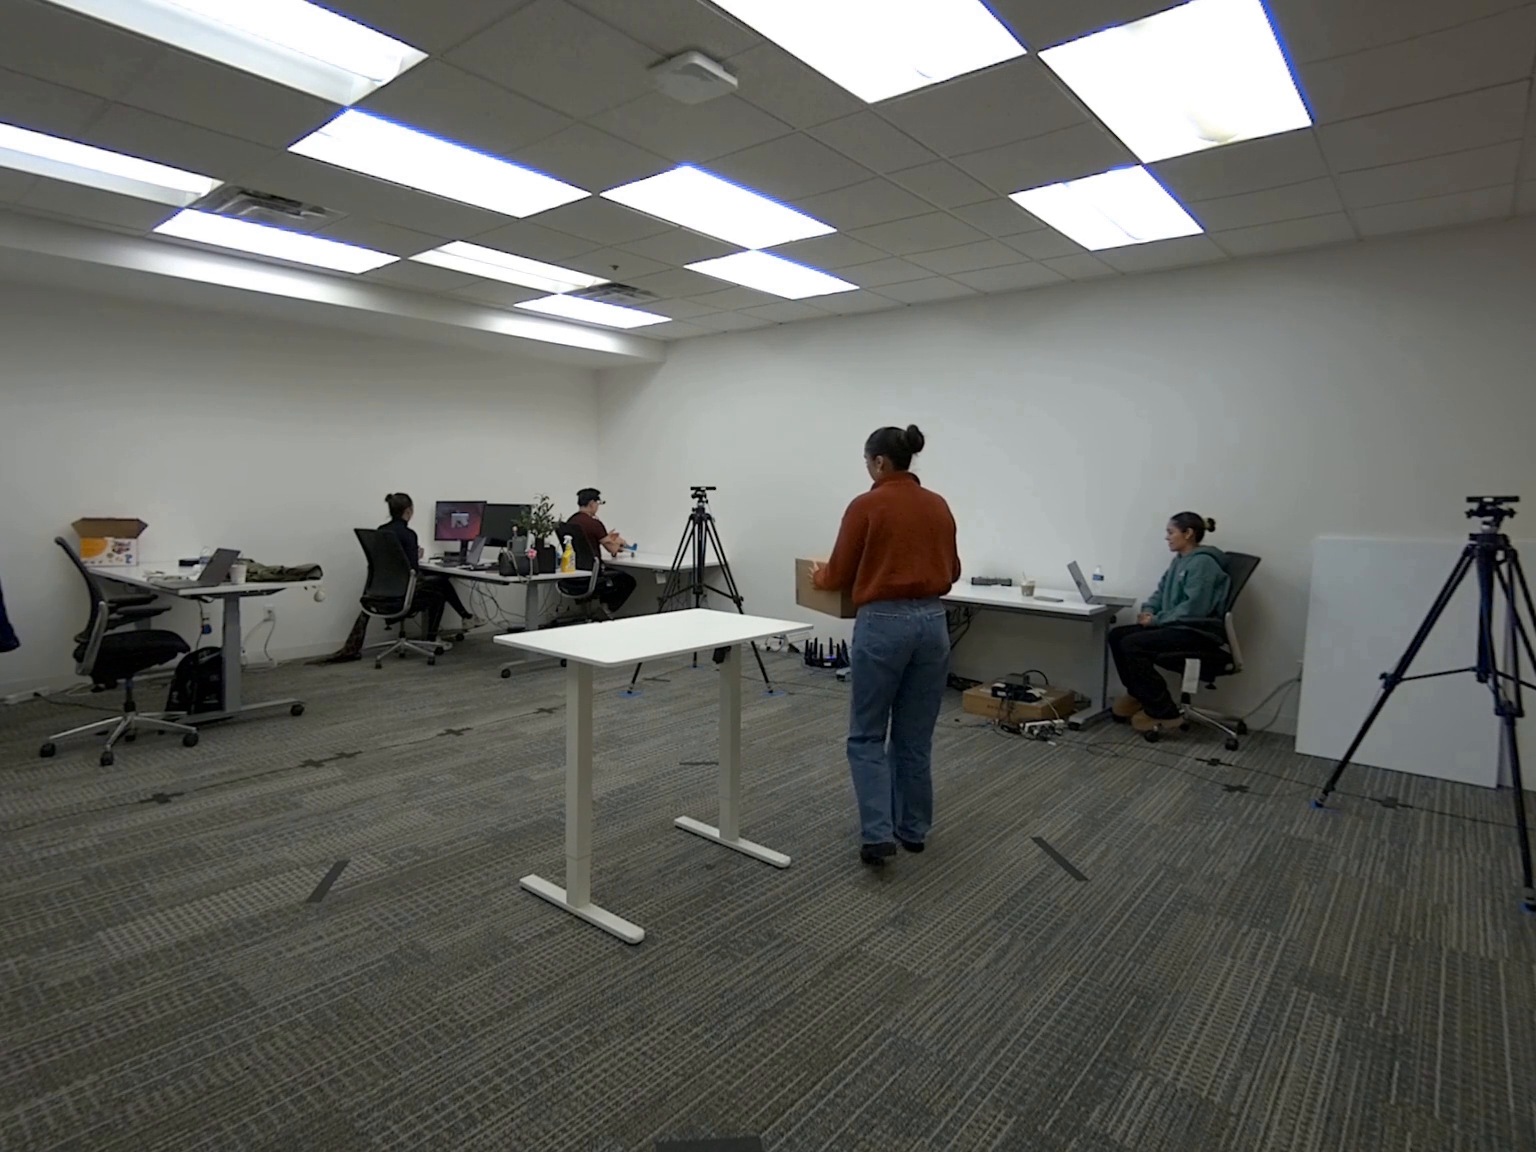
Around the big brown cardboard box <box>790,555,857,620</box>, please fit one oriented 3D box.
[{"bbox_3d":[0.390,0.033,3.661,0.411,0.233,0.599,-1,3,-16],"label":"big brown cardboard box"}]
